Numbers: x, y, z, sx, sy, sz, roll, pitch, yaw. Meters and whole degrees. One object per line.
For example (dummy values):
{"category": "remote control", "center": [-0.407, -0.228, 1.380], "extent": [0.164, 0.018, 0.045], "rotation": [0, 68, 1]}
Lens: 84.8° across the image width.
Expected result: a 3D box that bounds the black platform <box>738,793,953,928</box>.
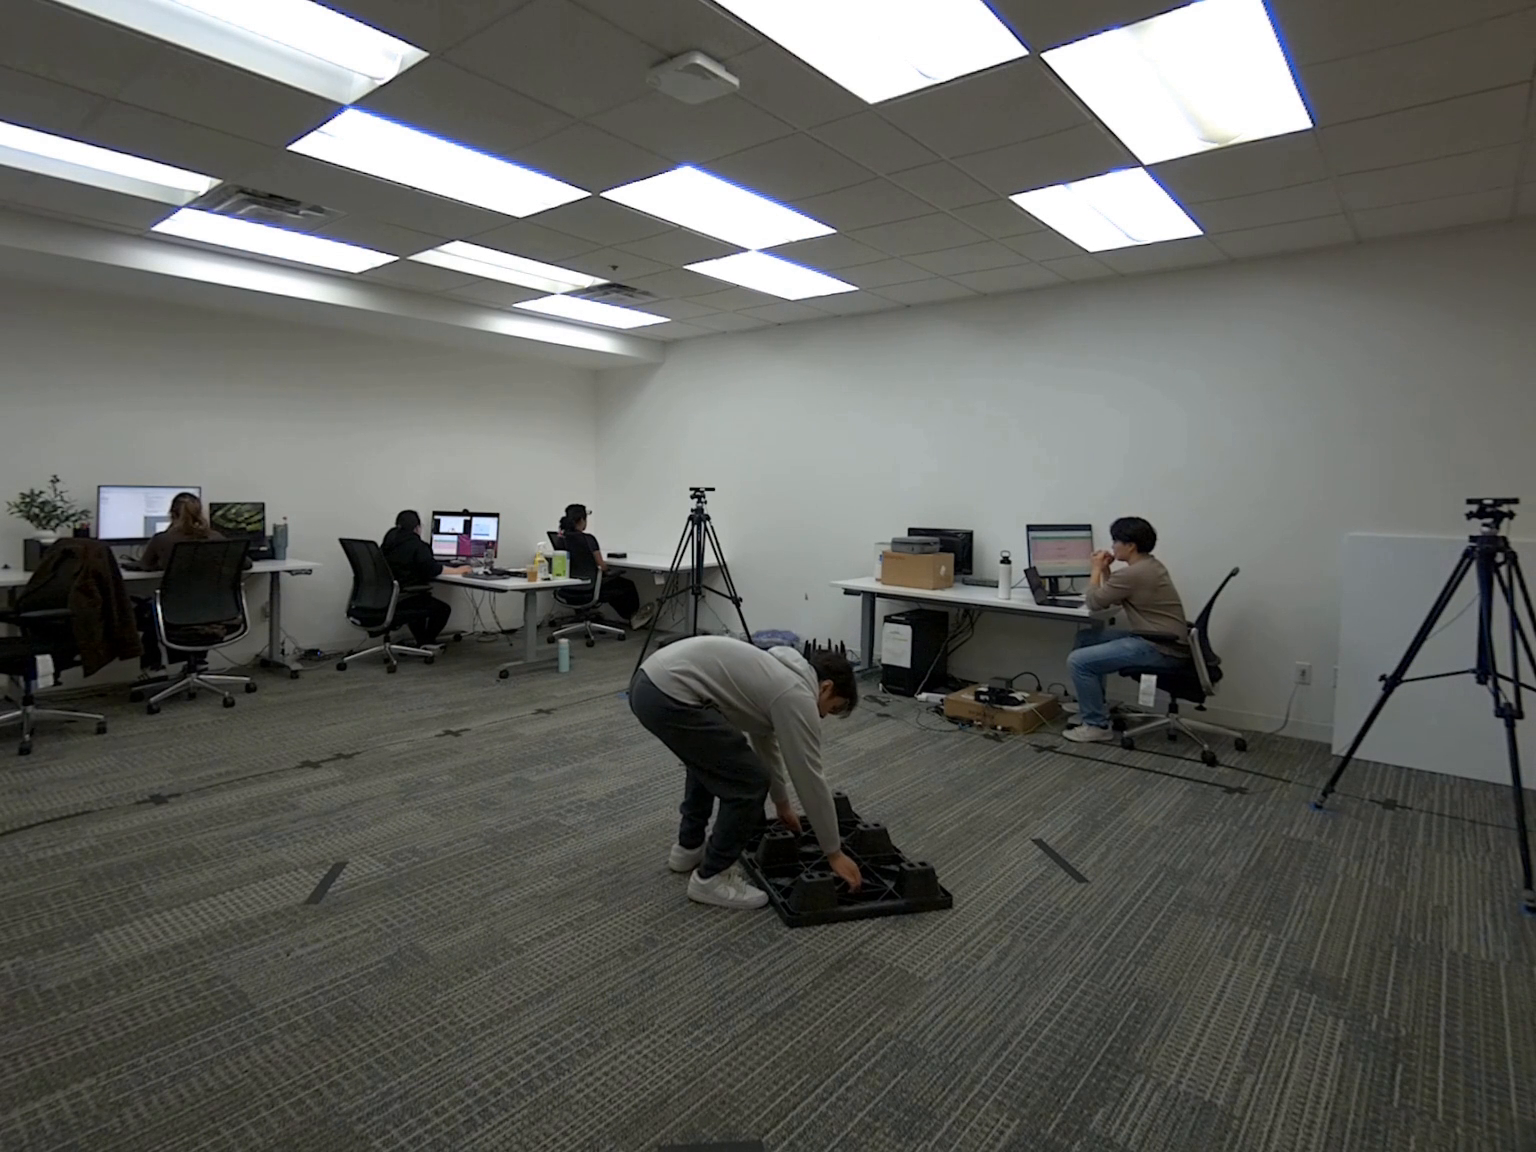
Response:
{"category": "black platform", "center": [0.204, 1.002, 3.152], "extent": [0.594, 0.143, 0.824], "rotation": [0, 5, -19]}
